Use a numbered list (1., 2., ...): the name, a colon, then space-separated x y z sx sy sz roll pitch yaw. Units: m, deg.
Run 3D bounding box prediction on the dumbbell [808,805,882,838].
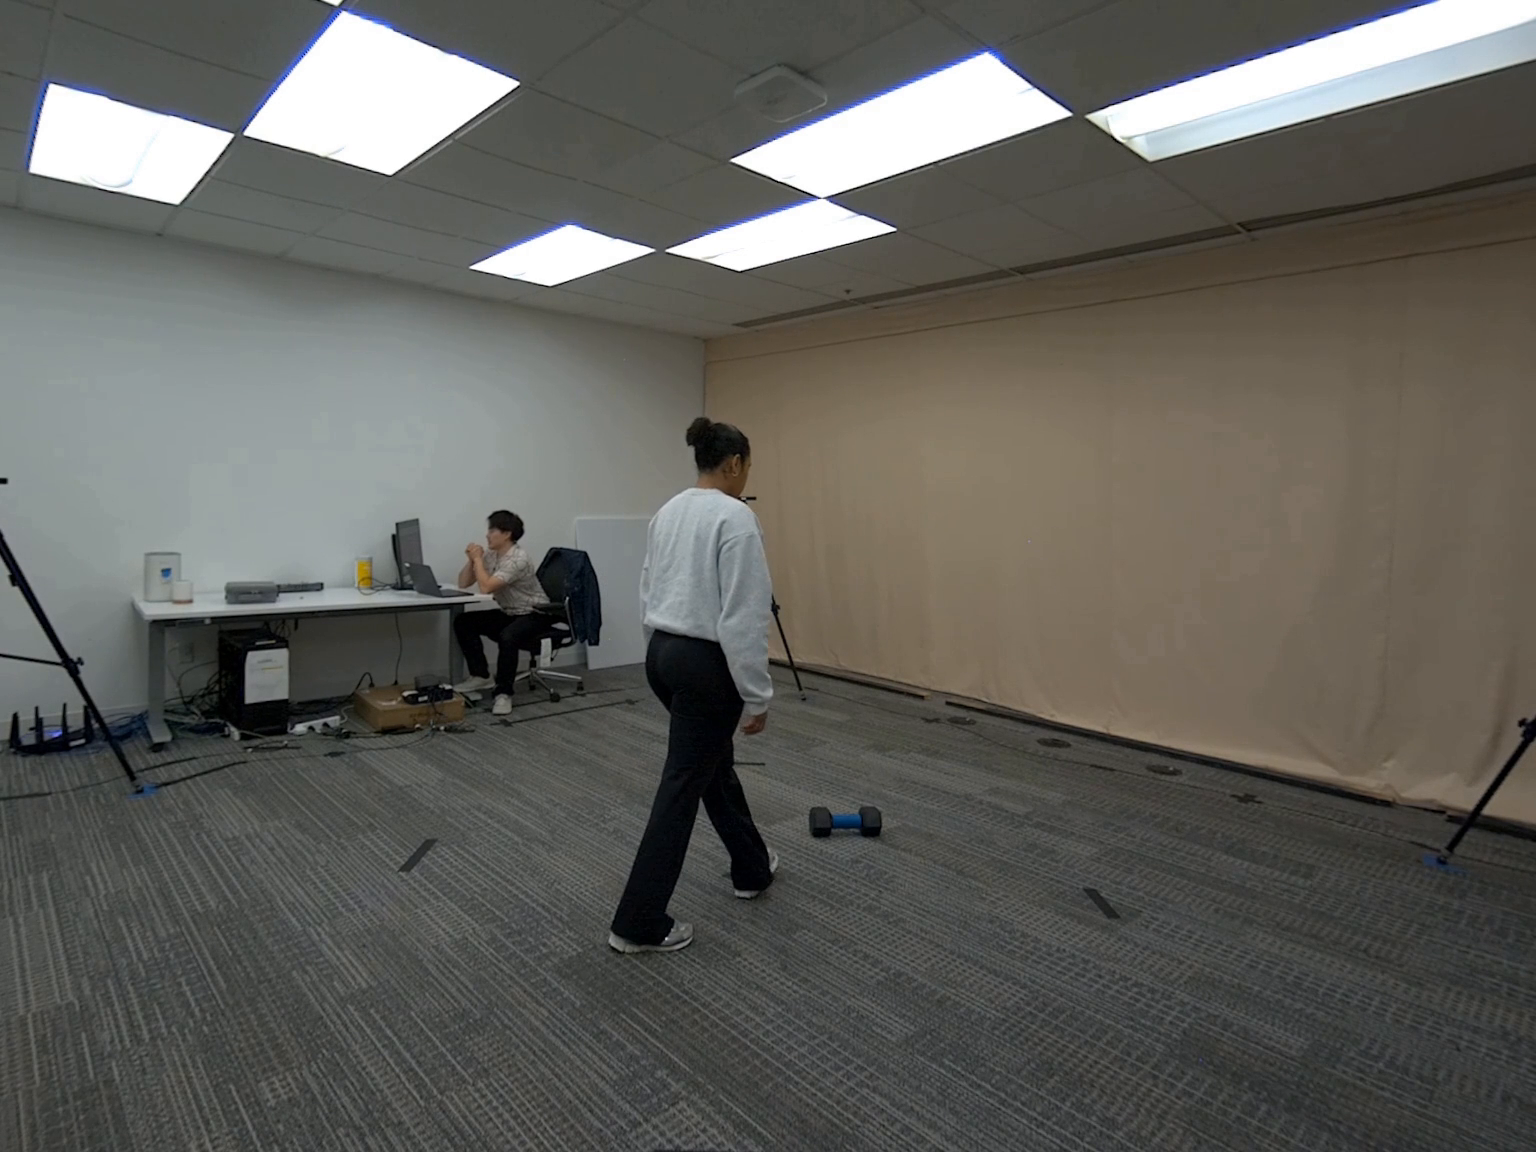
1. dumbbell: 0.314 1.028 3.519 0.292 0.125 0.107 1 -25 -6
